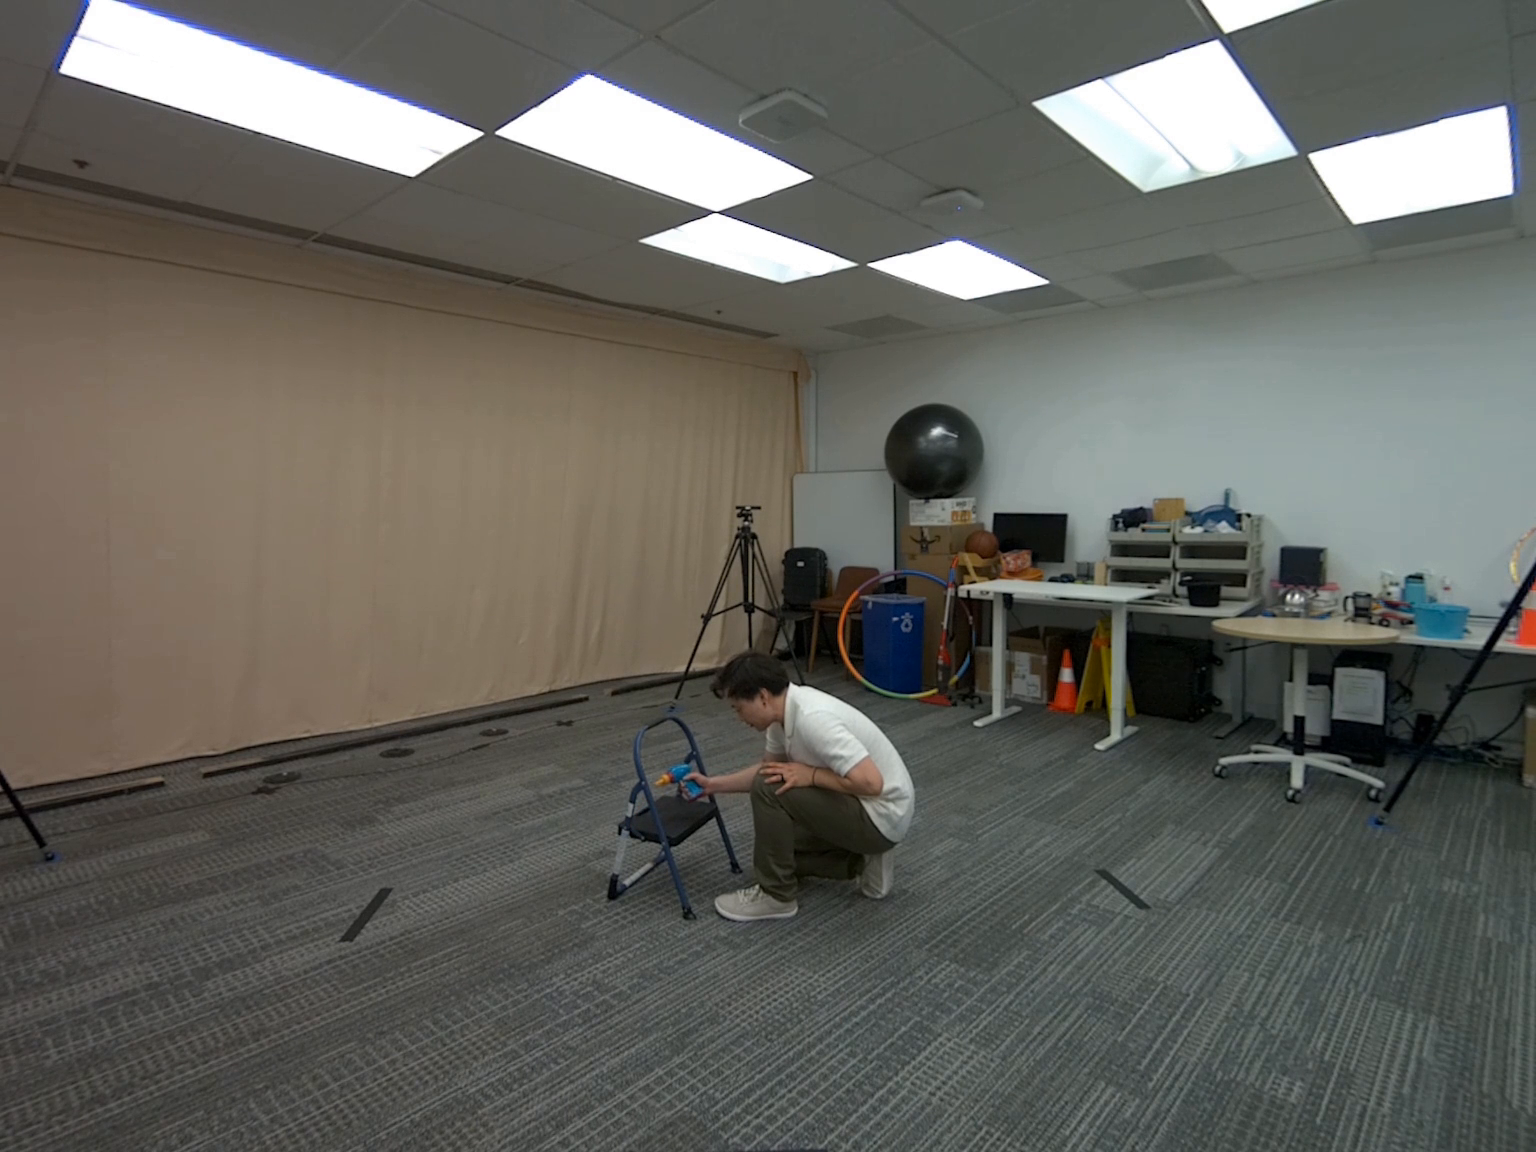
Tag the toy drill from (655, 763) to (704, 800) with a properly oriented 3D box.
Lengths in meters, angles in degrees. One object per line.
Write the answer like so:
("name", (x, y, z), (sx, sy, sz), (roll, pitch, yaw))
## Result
("toy drill", (-0.318, 0.769, 3.065), (0.165, 0.061, 0.150), (-15, 57, -46))
